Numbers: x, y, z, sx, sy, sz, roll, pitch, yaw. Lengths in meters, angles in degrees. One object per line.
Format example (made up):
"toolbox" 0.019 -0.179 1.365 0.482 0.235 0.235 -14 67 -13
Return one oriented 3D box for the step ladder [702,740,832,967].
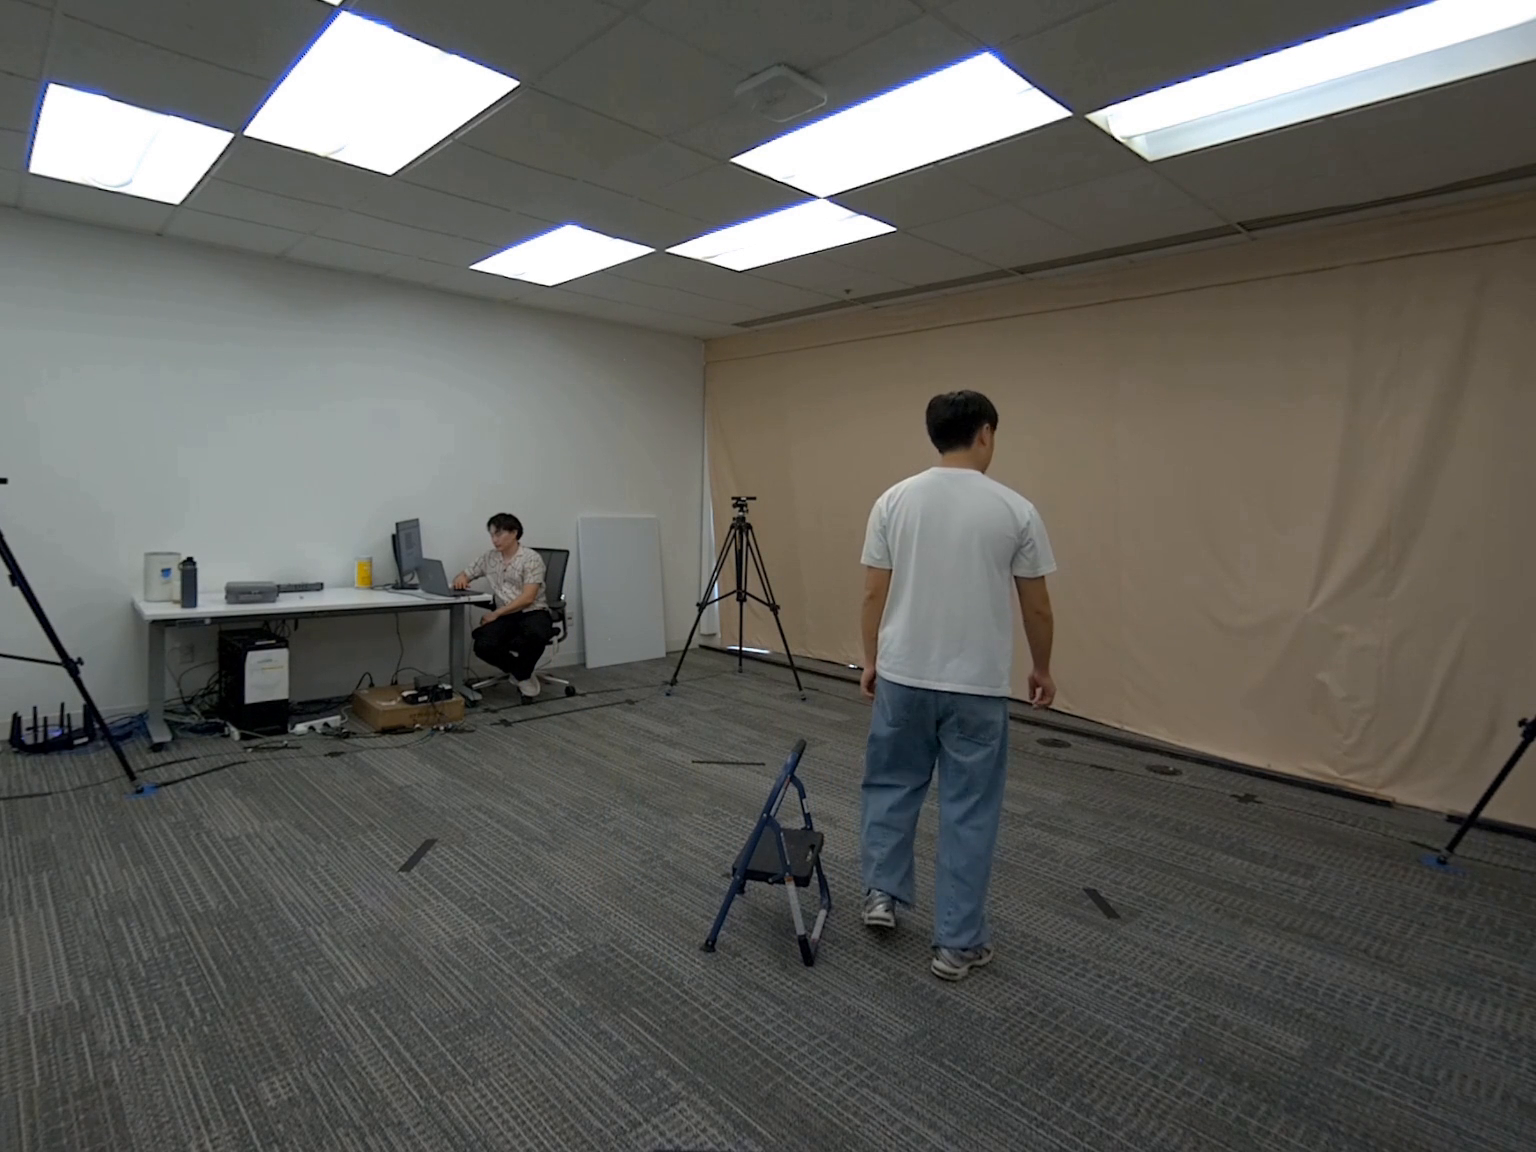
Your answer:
"step ladder" 0.014 0.840 2.725 0.353 0.604 0.427 2 4 13
